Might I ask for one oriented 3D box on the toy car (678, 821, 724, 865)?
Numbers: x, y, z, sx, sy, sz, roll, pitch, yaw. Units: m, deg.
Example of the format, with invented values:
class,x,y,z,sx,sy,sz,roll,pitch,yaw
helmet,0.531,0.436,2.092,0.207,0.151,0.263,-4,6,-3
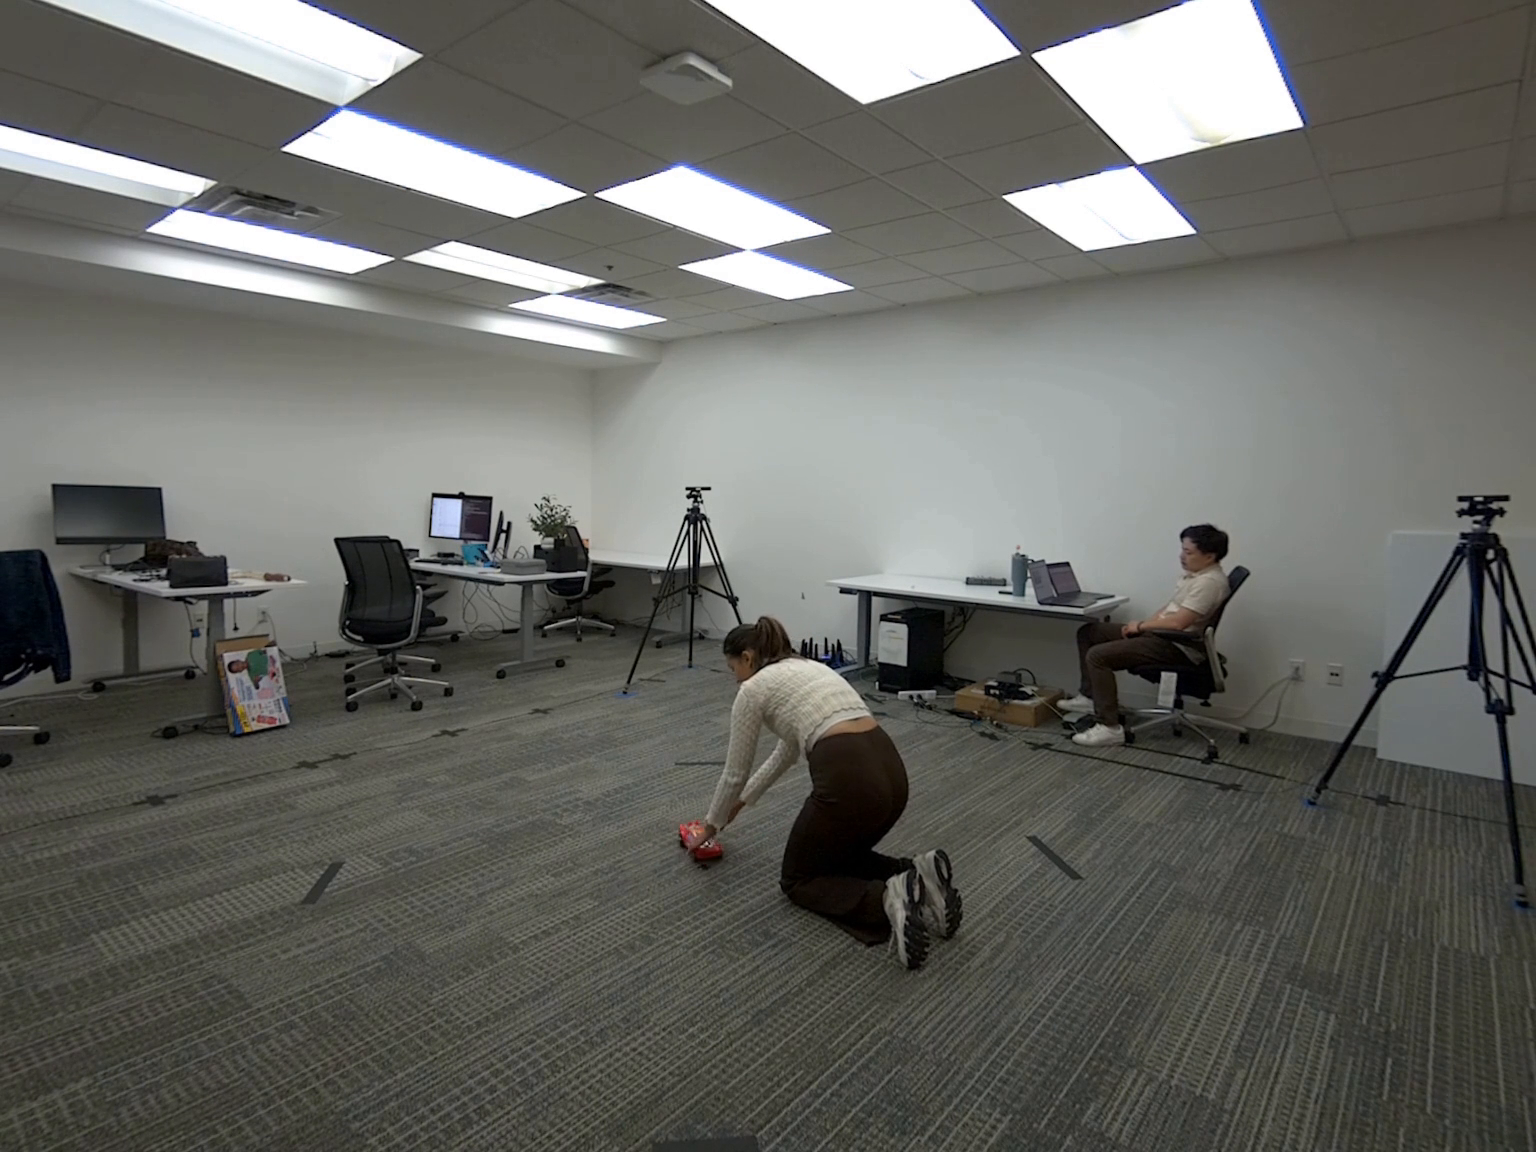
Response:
class,x,y,z,sx,sy,sz,roll,pitch,yaw
toy car,-0.275,1.015,3.267,0.127,0.082,0.263,-2,18,-22
